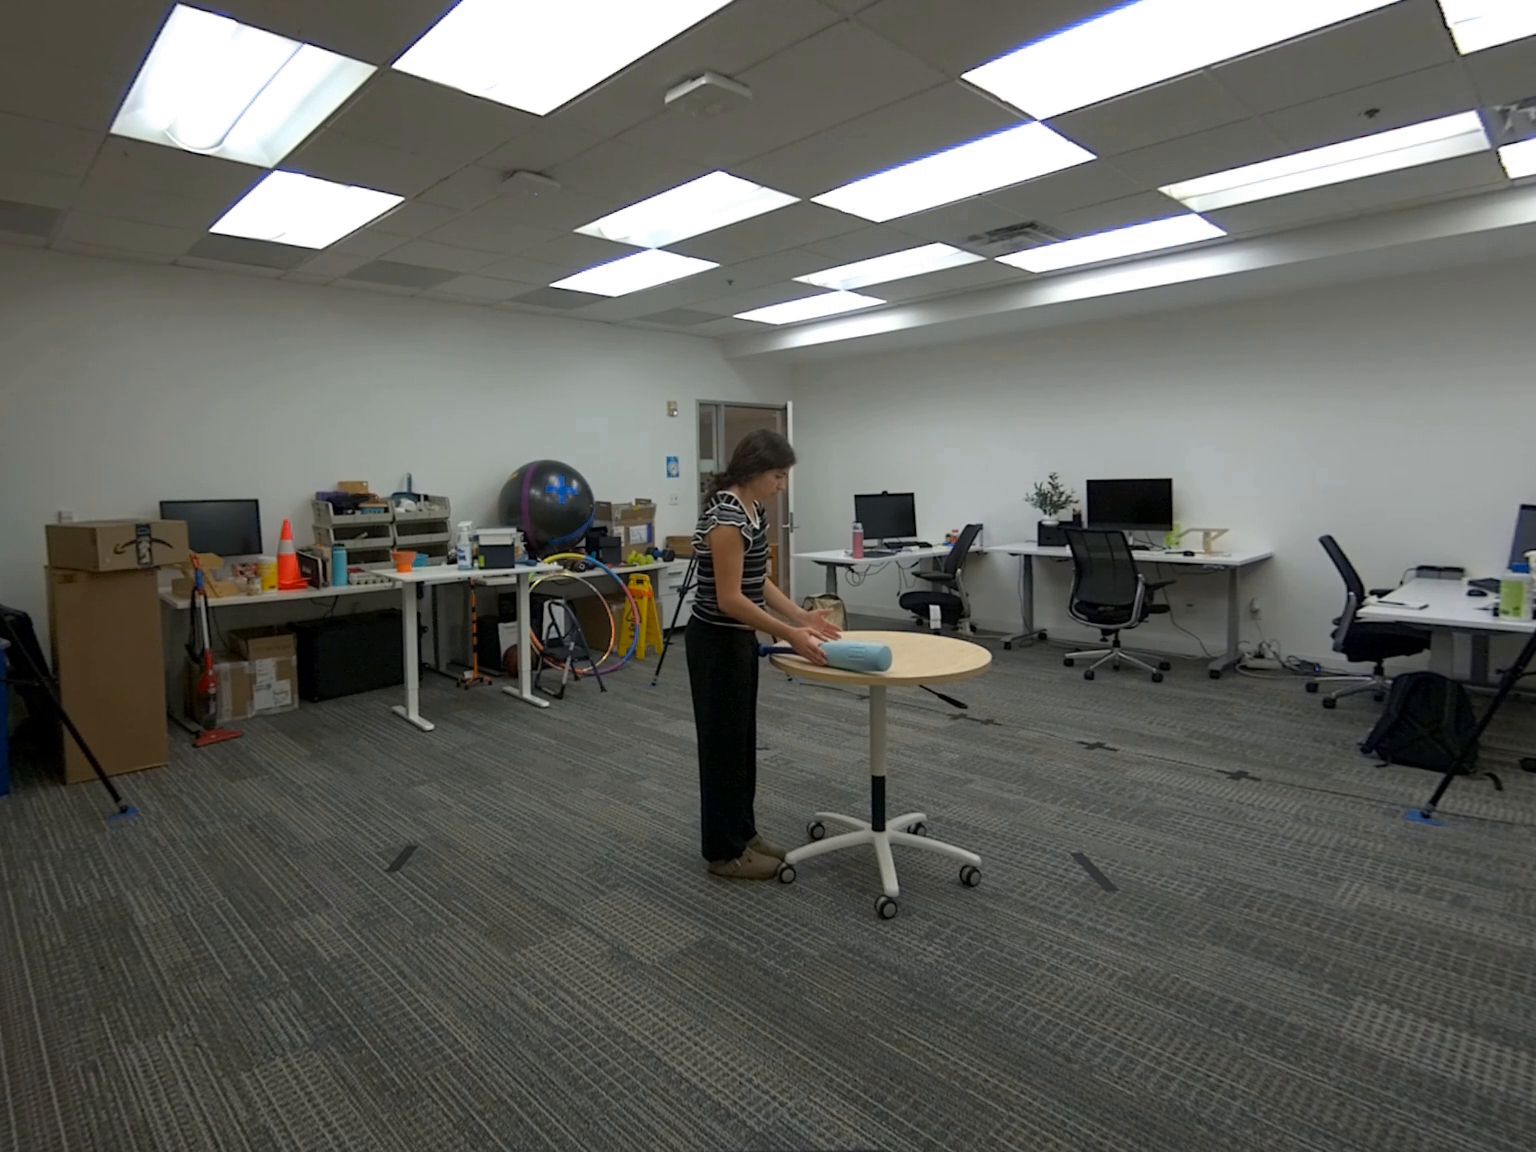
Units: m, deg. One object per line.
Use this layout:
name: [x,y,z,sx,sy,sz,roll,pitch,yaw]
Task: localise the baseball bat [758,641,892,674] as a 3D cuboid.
baseball bat: [0.177,0.257,2.830,0.087,0.089,0.558,-6,2,-45]
